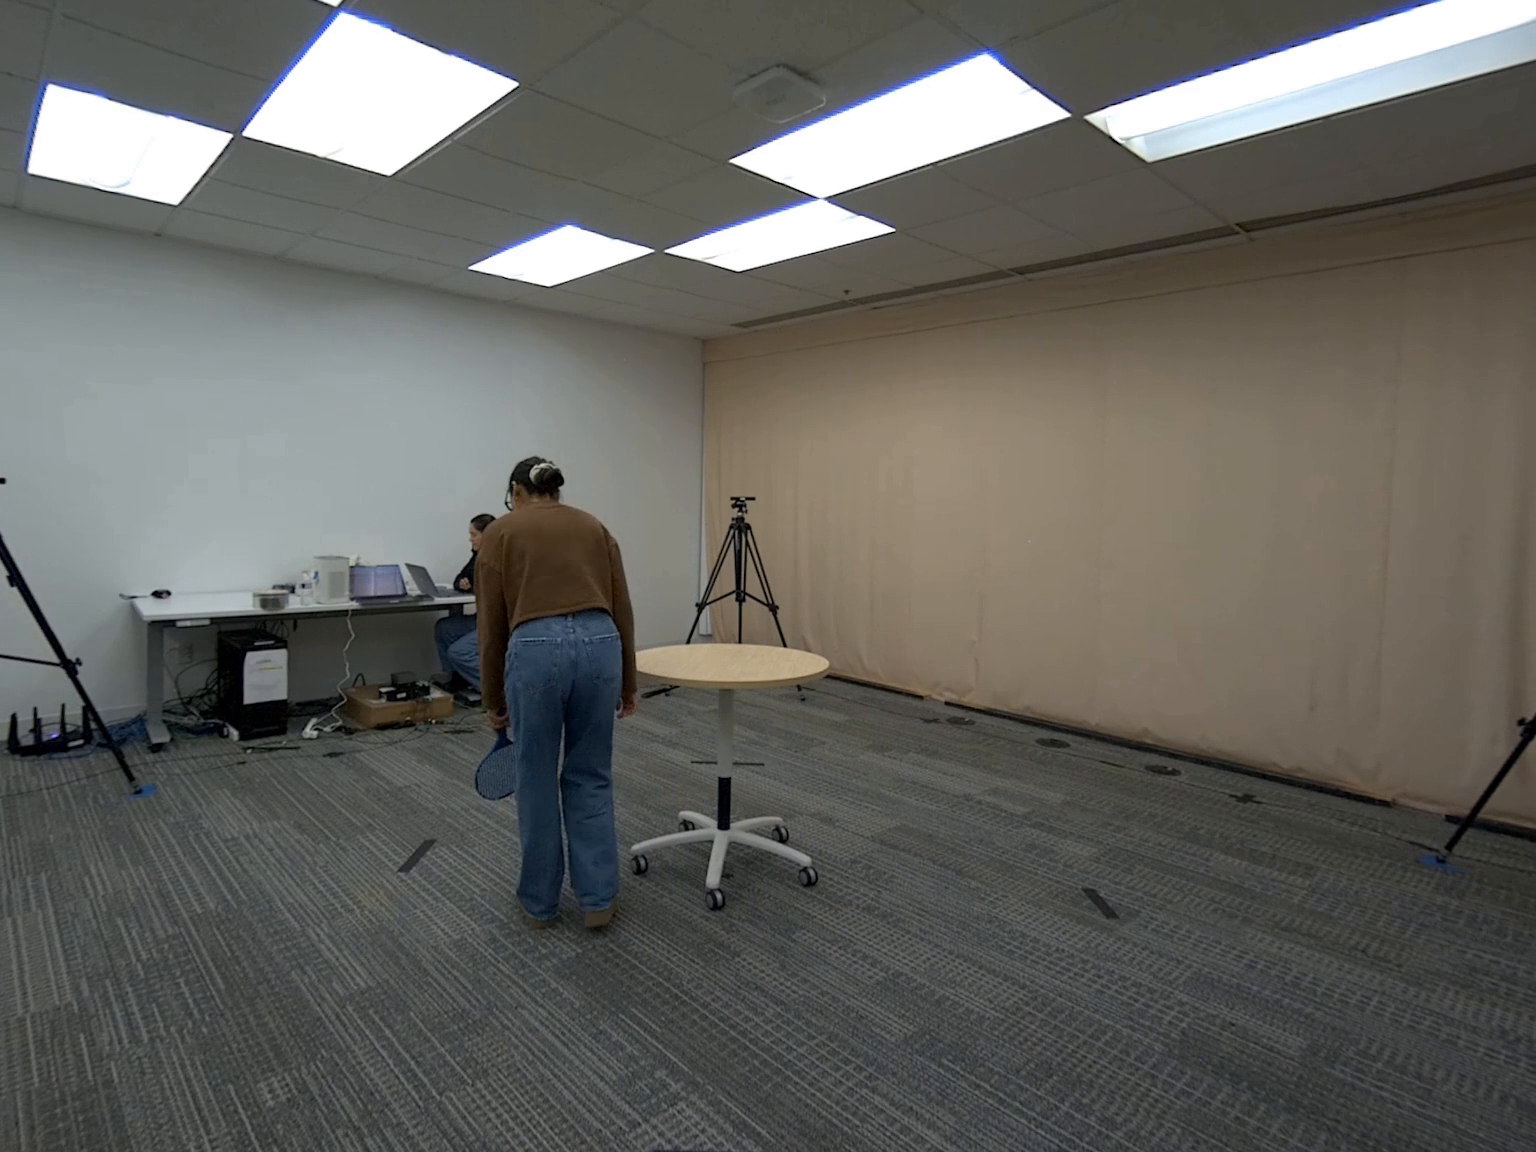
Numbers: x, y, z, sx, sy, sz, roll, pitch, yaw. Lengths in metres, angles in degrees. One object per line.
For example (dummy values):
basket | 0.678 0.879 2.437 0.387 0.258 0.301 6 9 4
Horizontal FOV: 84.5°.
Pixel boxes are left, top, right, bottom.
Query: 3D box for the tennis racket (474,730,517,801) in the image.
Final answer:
tennis racket | -0.913 0.624 2.923 0.210 0.426 0.033 -18 41 -38
